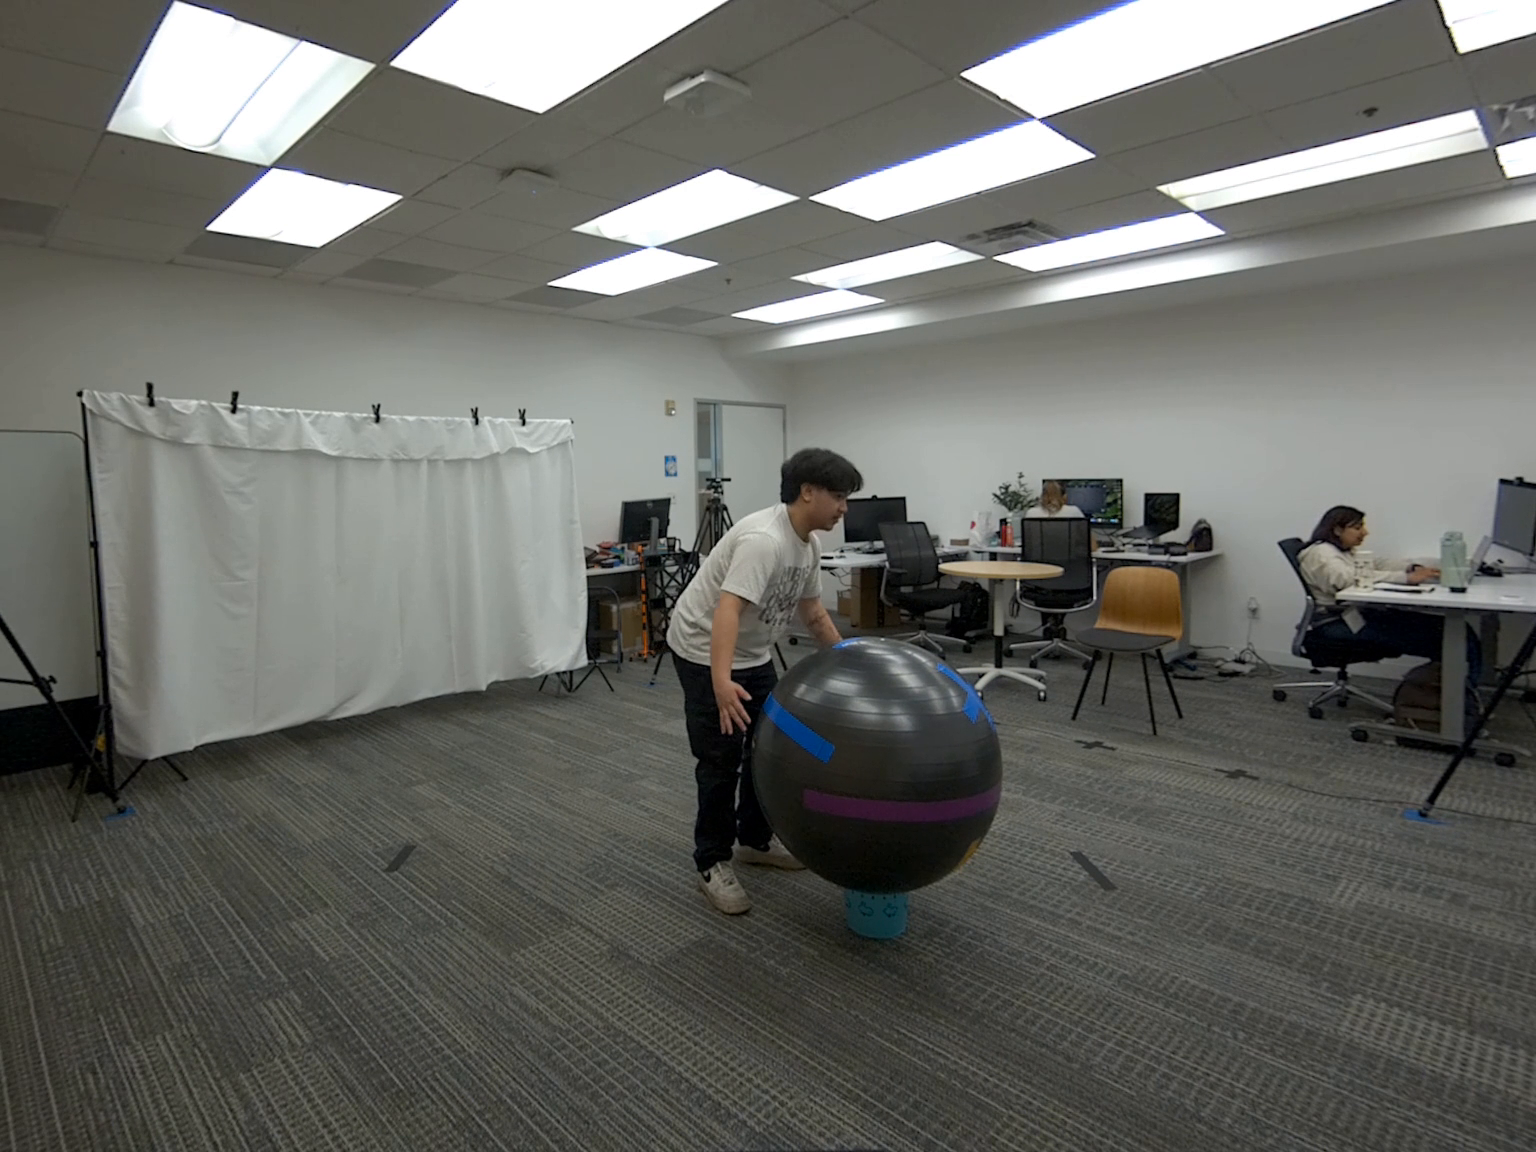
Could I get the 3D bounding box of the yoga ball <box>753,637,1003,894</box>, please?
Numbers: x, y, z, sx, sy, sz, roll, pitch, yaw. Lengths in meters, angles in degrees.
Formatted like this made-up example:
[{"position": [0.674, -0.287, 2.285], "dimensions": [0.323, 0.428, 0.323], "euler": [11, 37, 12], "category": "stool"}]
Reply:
[{"position": [0.339, 0.579, 2.625], "dimensions": [0.757, 0.755, 0.762], "euler": [-1, 5, -2], "category": "yoga ball"}]
